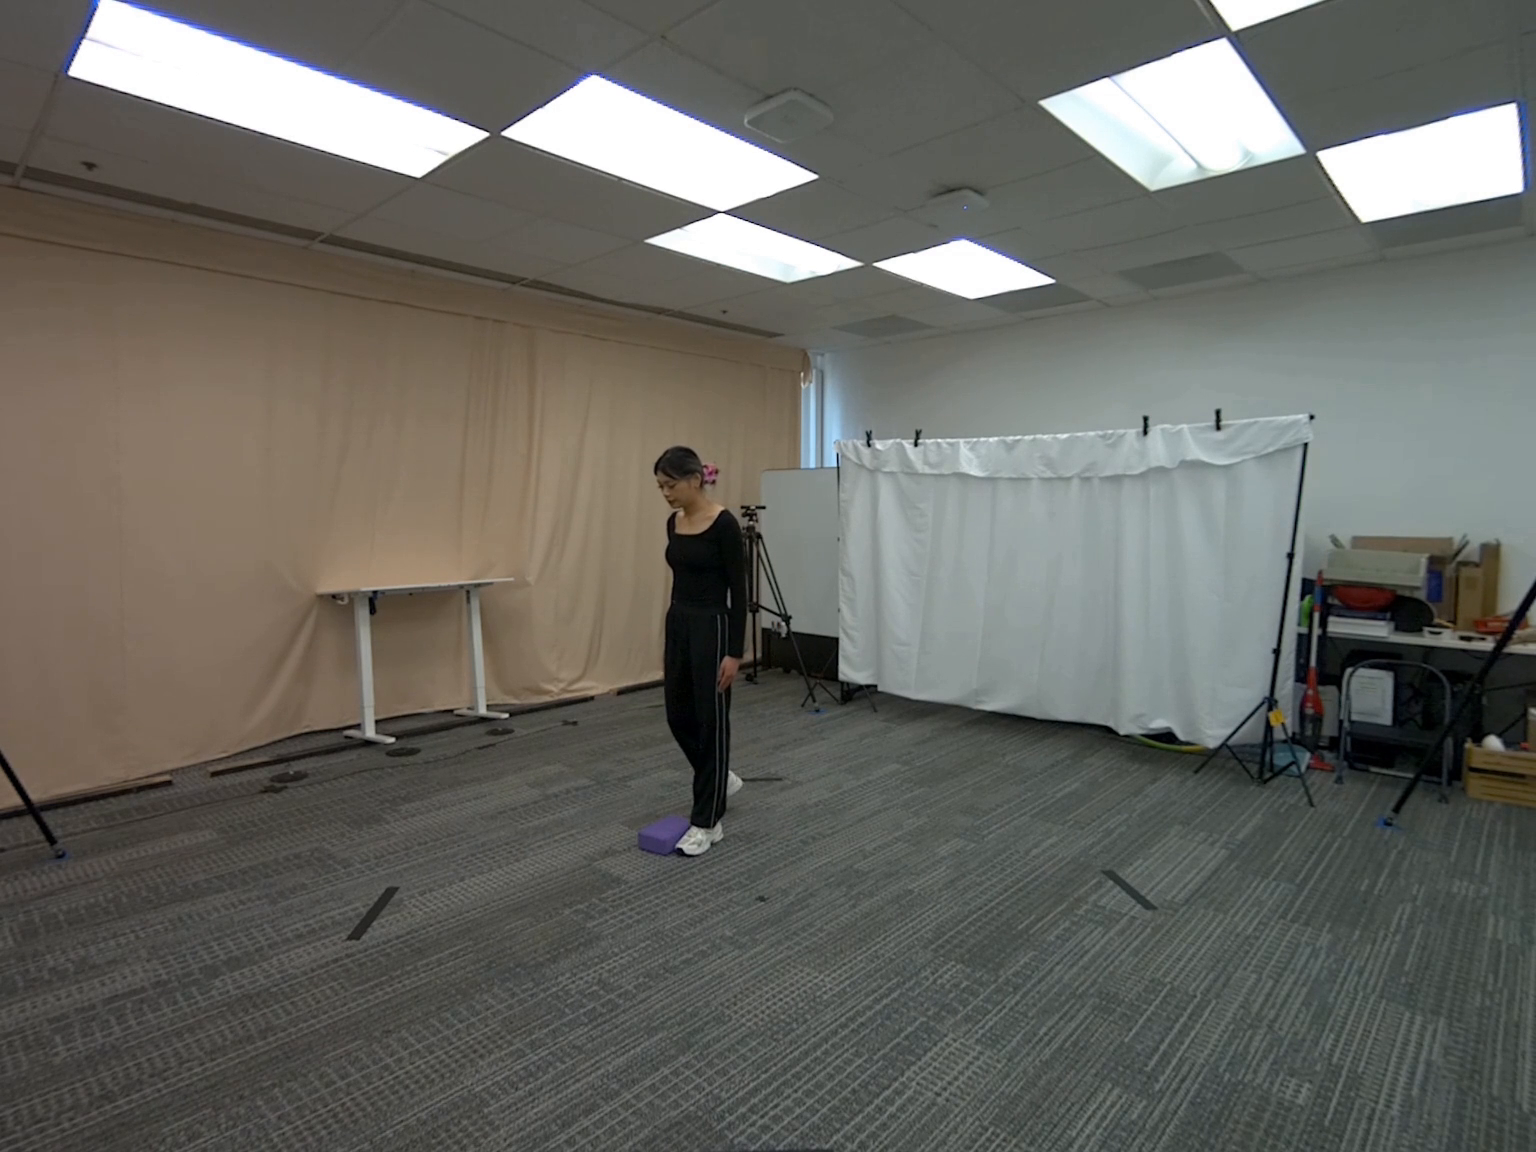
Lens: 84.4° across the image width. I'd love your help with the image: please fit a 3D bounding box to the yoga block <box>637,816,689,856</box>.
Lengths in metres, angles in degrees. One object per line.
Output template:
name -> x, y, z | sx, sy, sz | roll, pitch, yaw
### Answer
yoga block -> -0.413, 1.068, 3.478 | 0.153, 0.076, 0.223 | 2, 6, 31
